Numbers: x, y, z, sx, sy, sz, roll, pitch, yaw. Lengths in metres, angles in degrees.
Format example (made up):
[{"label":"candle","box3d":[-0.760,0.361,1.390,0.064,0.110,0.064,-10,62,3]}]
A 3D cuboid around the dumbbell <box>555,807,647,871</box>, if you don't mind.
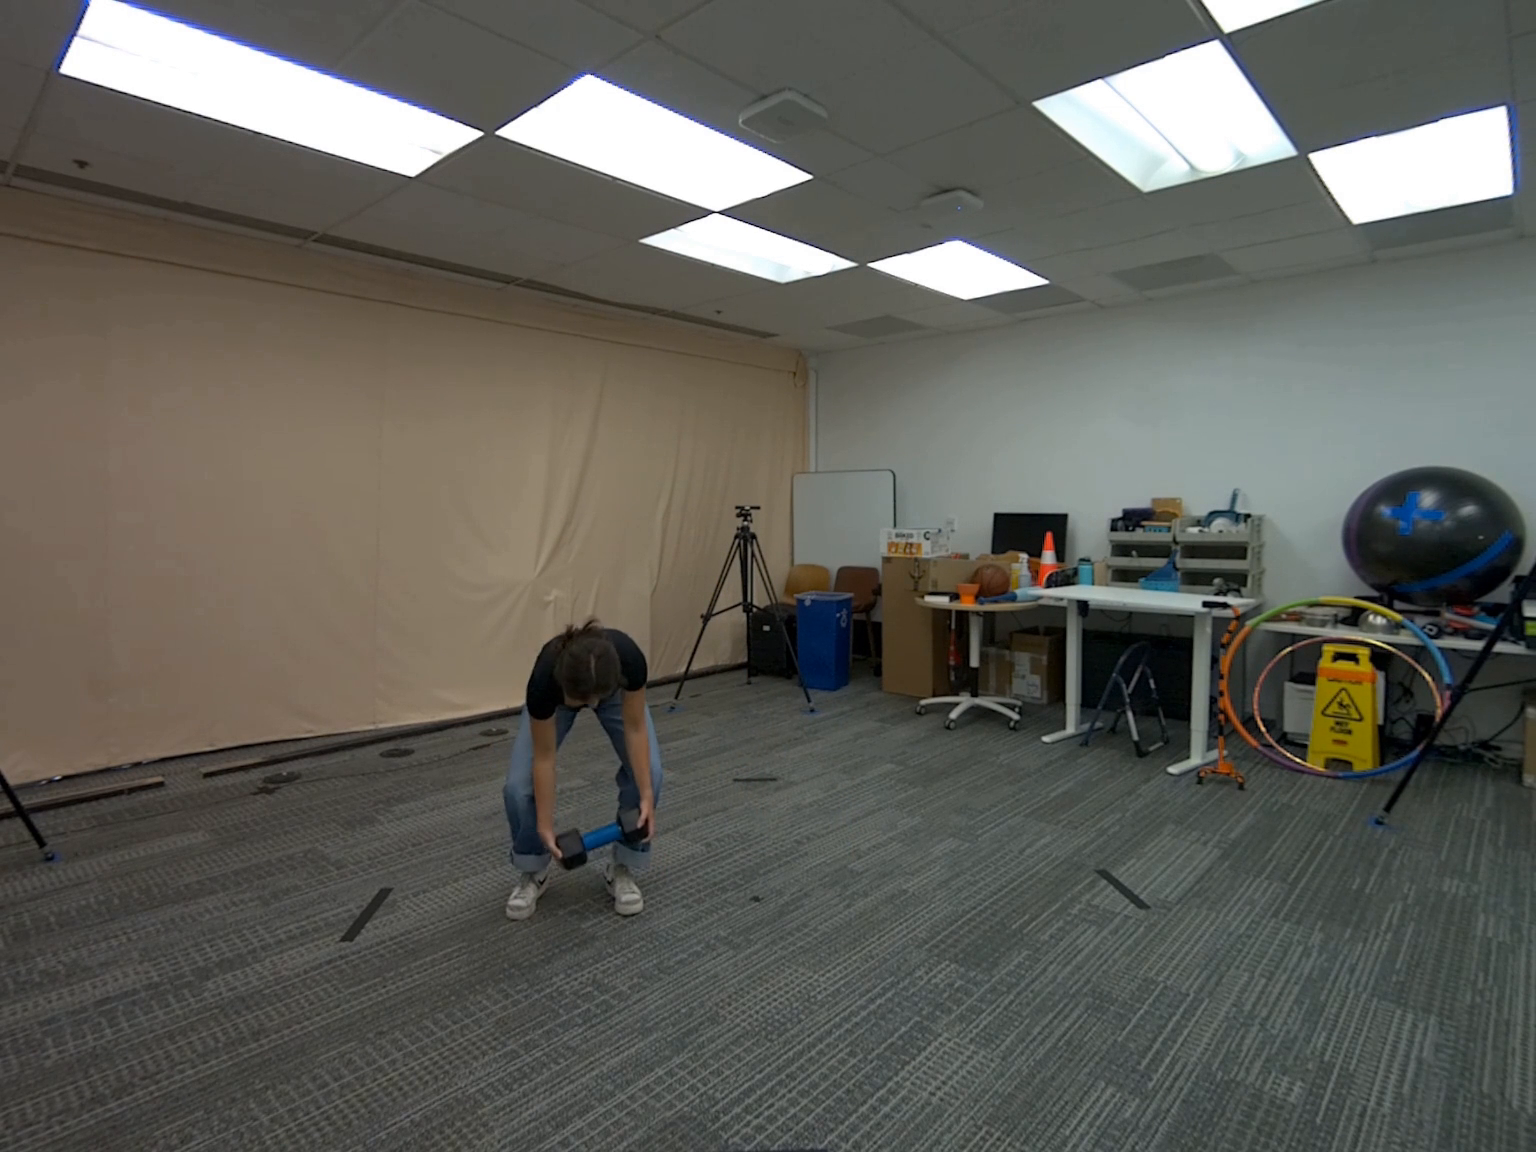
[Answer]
[{"label":"dumbbell","box3d":[-0.548,0.868,2.783,0.290,0.108,0.125,-14,4,-13]}]
